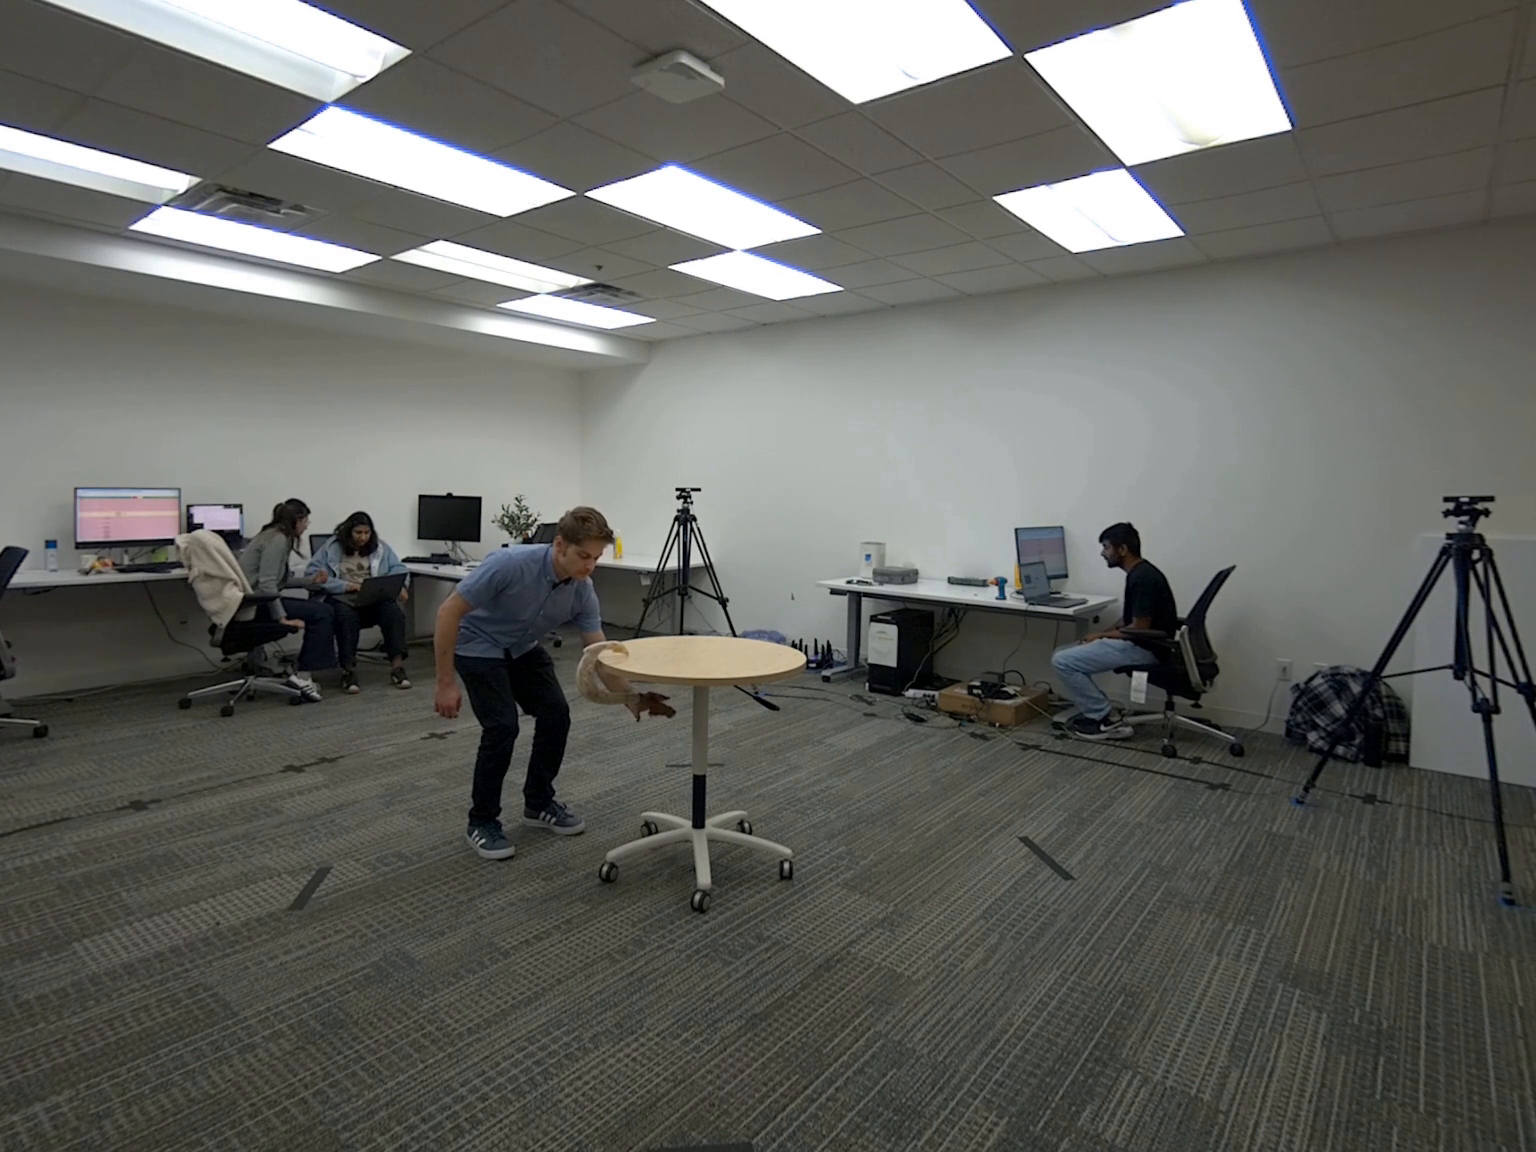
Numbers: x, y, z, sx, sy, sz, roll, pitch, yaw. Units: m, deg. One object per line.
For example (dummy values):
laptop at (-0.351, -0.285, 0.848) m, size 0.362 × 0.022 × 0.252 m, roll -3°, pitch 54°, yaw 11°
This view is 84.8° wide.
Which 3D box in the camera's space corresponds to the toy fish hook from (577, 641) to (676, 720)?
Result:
toy fish hook at (-0.510, 0.381, 3.086) m, size 0.050 × 0.226 × 0.486 m, roll 10°, pitch -14°, yaw 44°
